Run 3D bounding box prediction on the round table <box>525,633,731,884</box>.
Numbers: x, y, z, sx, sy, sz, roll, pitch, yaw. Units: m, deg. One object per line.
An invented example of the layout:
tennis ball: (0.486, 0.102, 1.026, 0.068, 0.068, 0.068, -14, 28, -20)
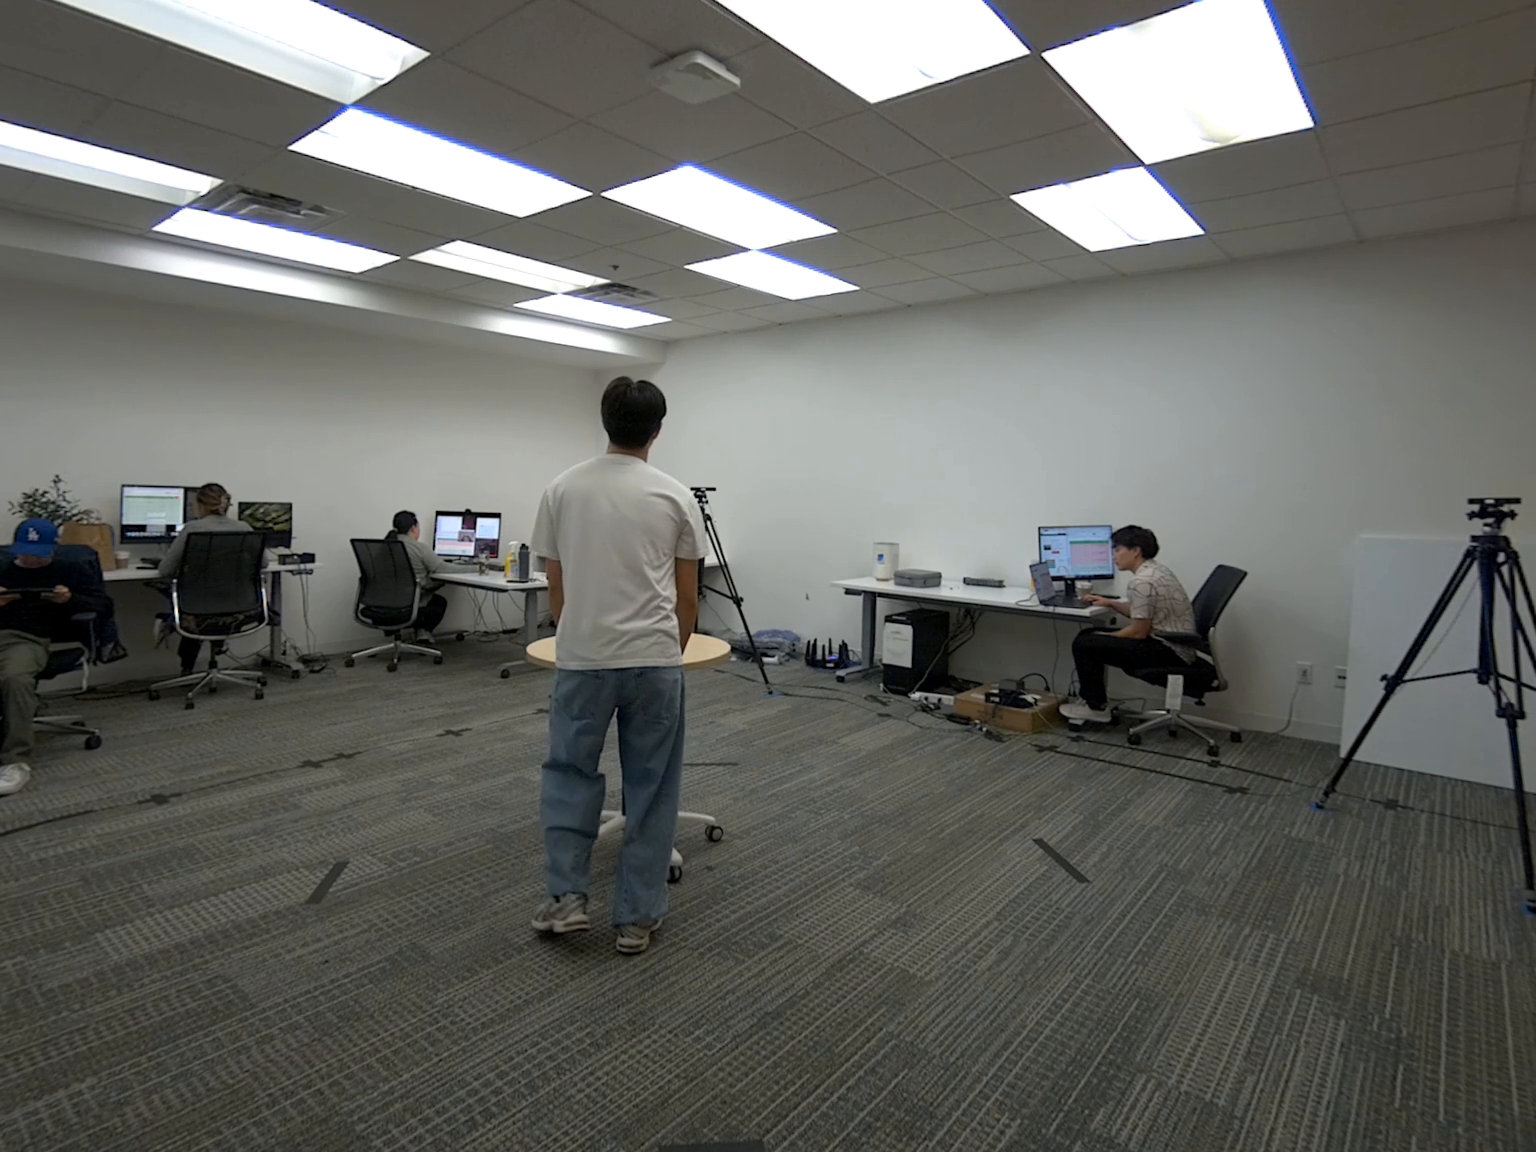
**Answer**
round table: (-0.535, 0.655, 3.242, 0.763, 0.791, 0.768, 1, 4, -2)
